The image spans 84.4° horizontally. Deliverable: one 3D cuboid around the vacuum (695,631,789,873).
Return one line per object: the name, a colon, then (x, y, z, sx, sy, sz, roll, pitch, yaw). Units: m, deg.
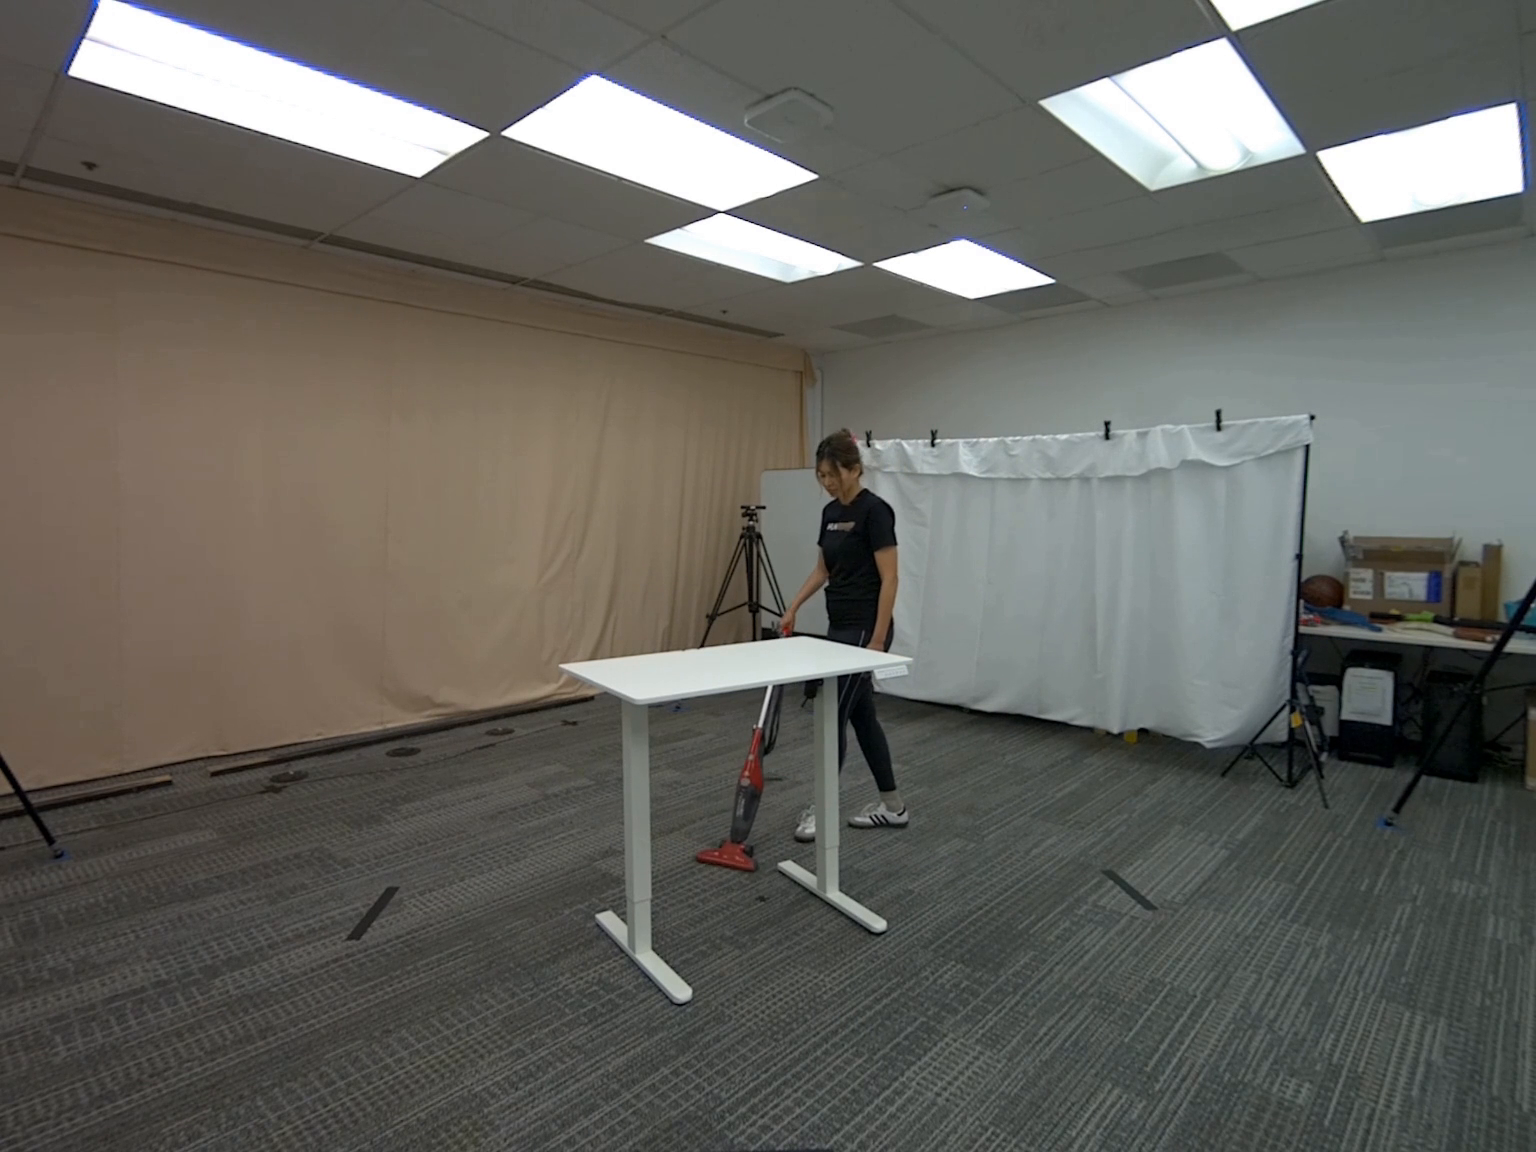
vacuum: (-0.022, 0.665, 3.554, 0.259, 1.057, 0.139, 1, -32, 26)
